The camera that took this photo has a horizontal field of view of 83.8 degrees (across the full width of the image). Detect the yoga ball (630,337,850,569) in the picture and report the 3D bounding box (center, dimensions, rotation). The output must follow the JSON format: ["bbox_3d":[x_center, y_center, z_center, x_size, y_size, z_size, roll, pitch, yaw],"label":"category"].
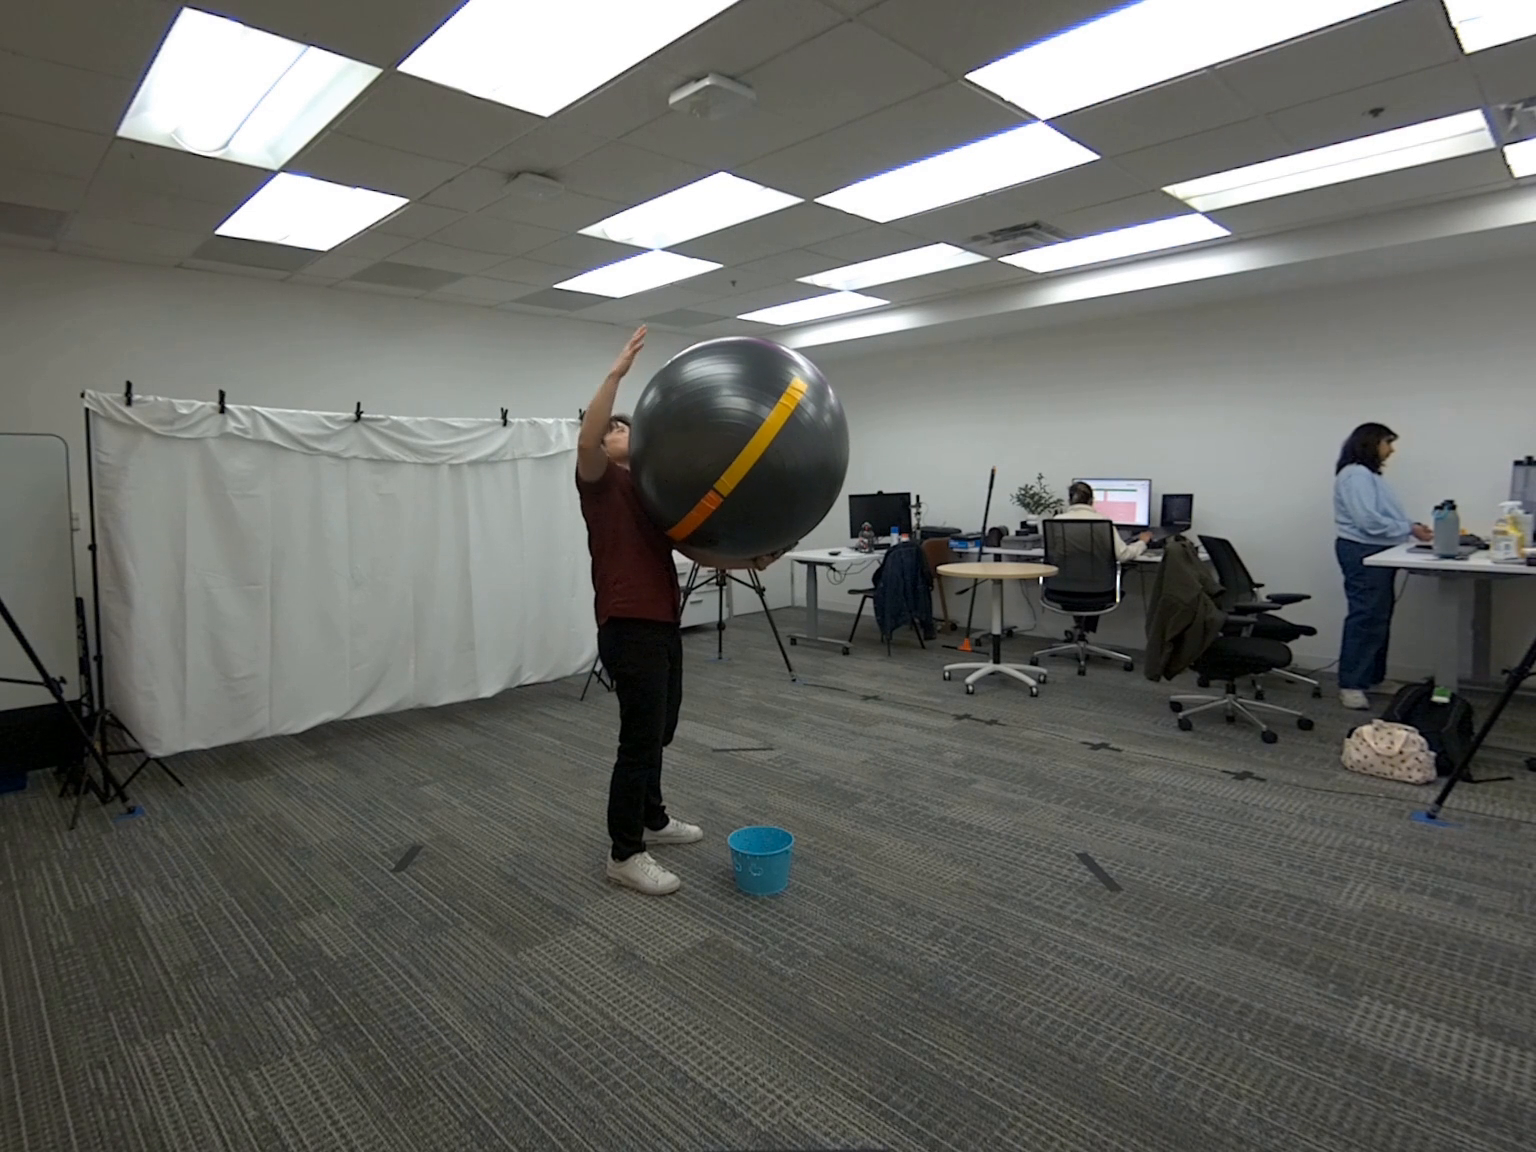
[{"bbox_3d":[-0.098,-0.429,2.935,0.757,0.755,0.762,-1,5,-2],"label":"yoga ball"}]
